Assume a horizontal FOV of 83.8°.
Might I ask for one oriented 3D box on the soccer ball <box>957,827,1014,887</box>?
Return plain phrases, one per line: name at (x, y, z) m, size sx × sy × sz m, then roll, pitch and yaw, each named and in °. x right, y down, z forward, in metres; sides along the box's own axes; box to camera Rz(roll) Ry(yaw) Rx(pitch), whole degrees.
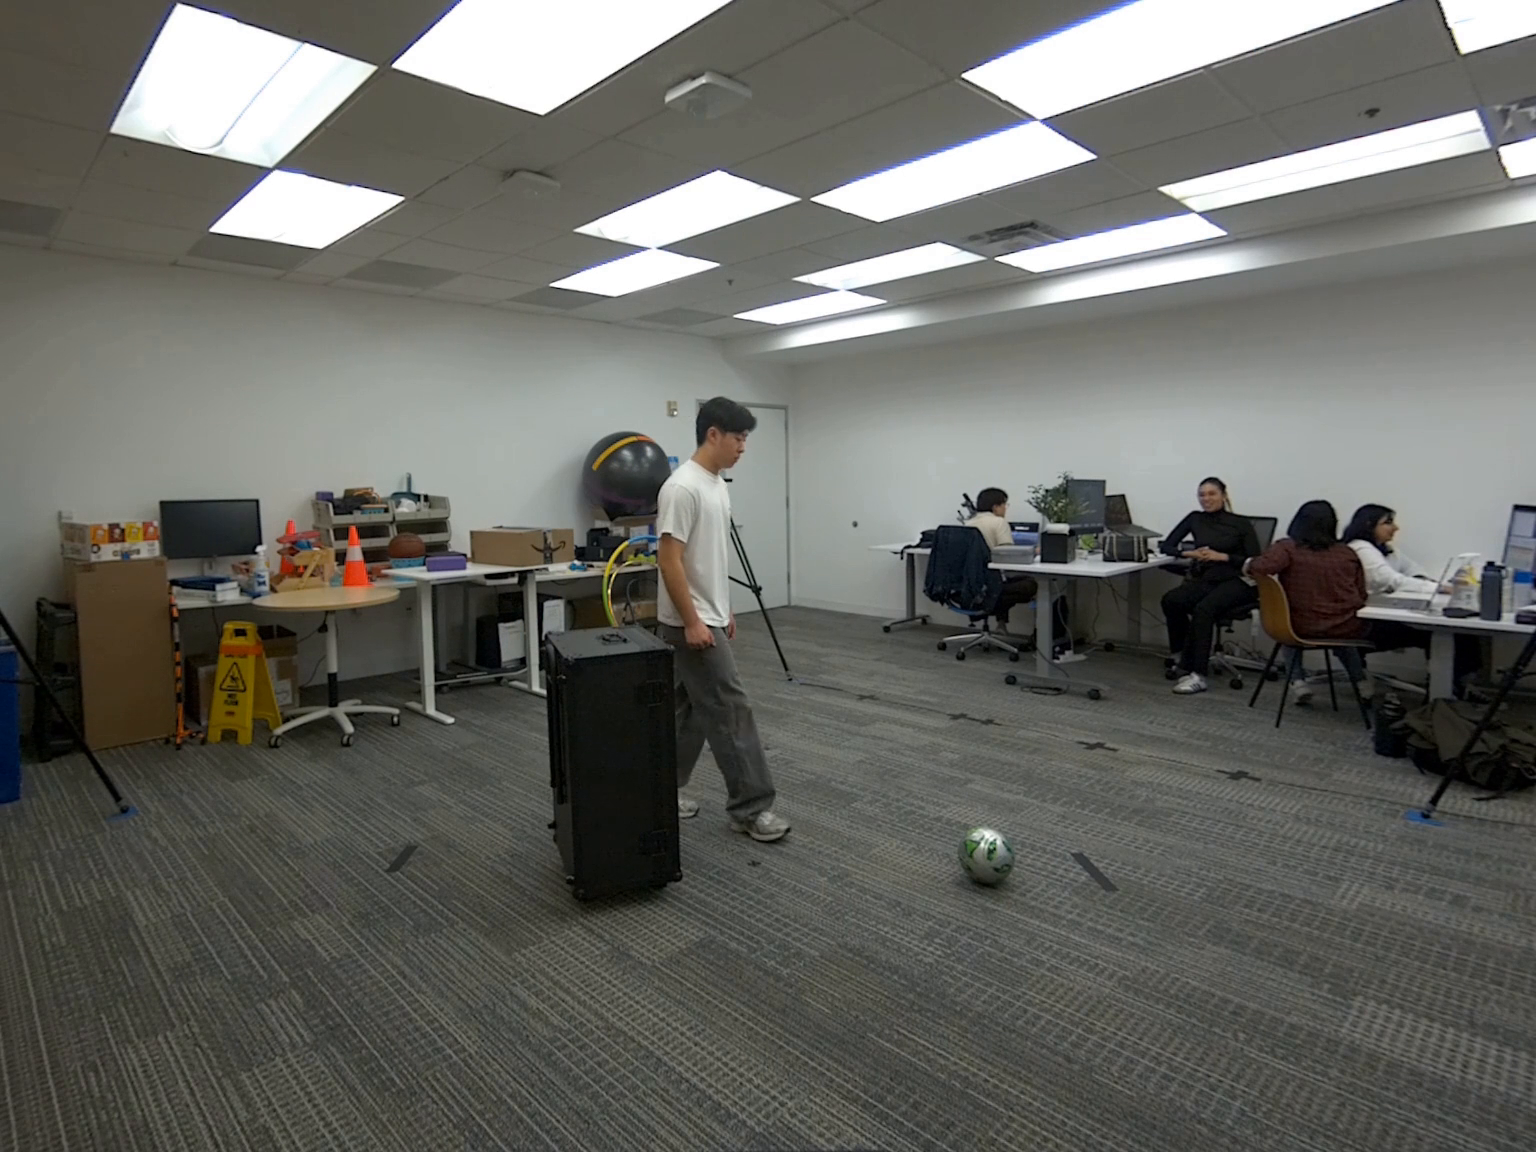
soccer ball at (0.747, 0.952, 2.932) m, size 0.187 × 0.187 × 0.188 m, roll -1°, pitch 5°, yaw -2°
